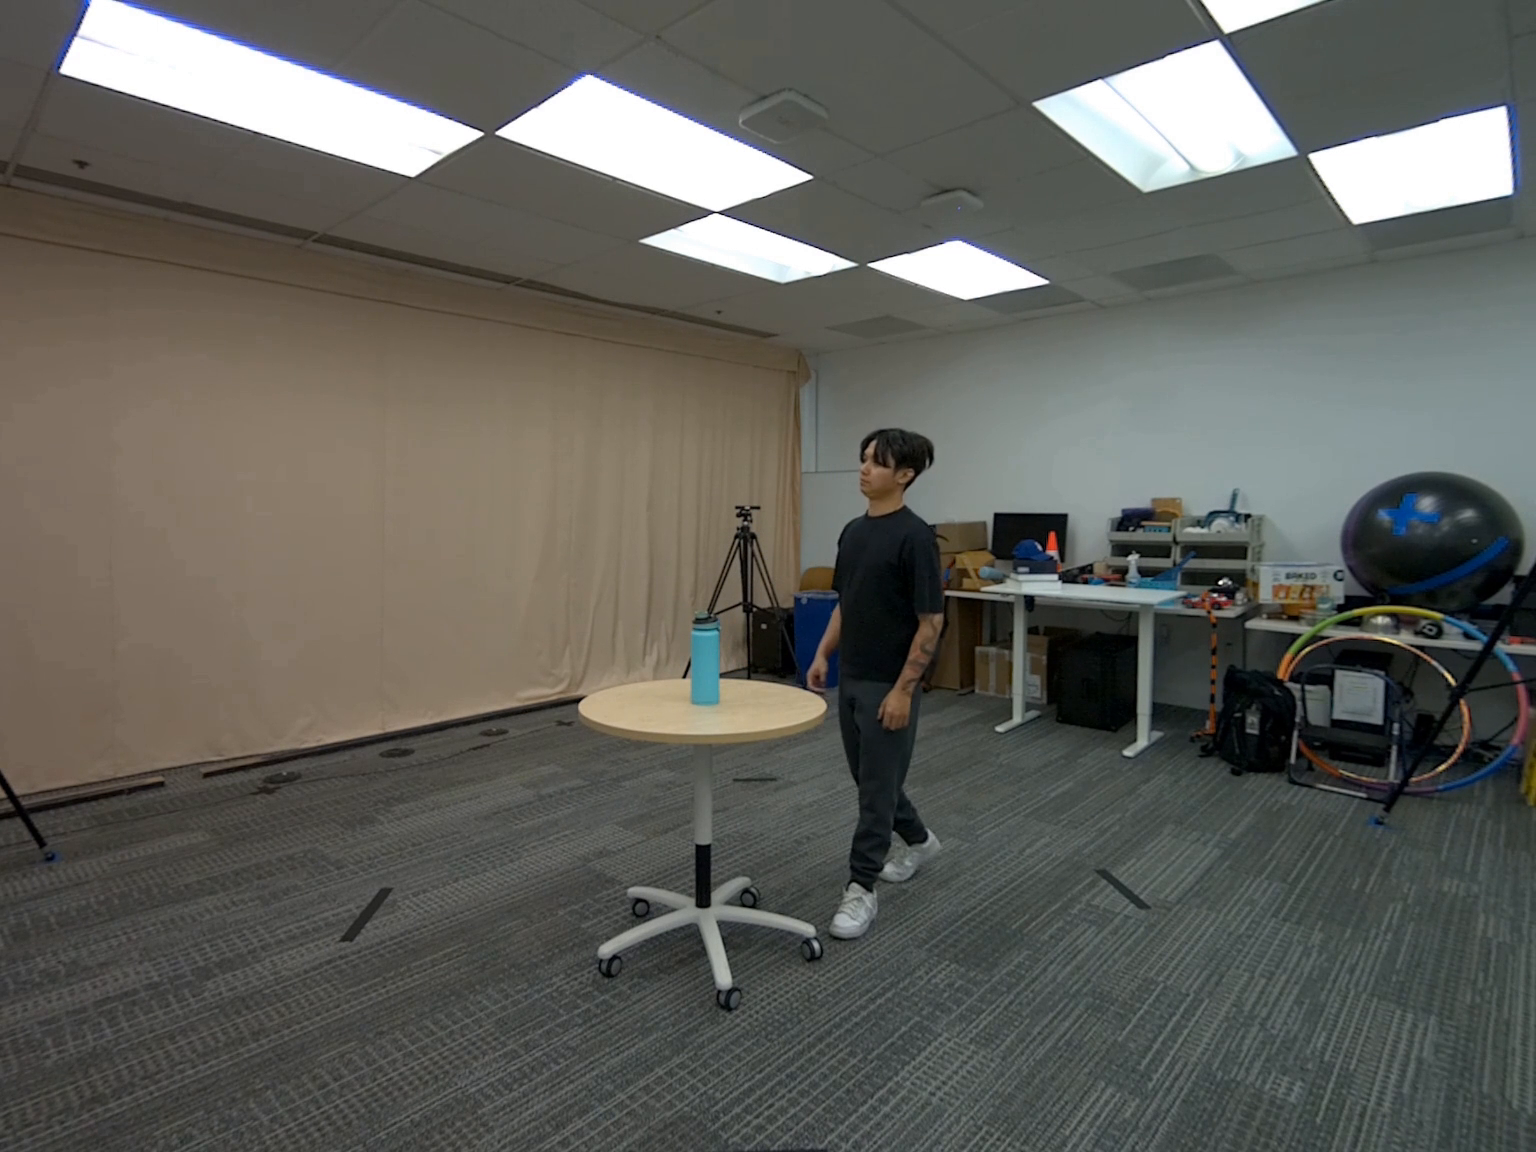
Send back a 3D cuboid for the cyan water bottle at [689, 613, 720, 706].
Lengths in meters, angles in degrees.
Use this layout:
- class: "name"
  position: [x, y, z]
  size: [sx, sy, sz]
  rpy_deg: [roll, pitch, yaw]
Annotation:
- class: "cyan water bottle"
  position: [-0.187, 0.258, 2.610]
  size: [0.092, 0.283, 0.092]
  rpy_deg: [1, 0, -2]
